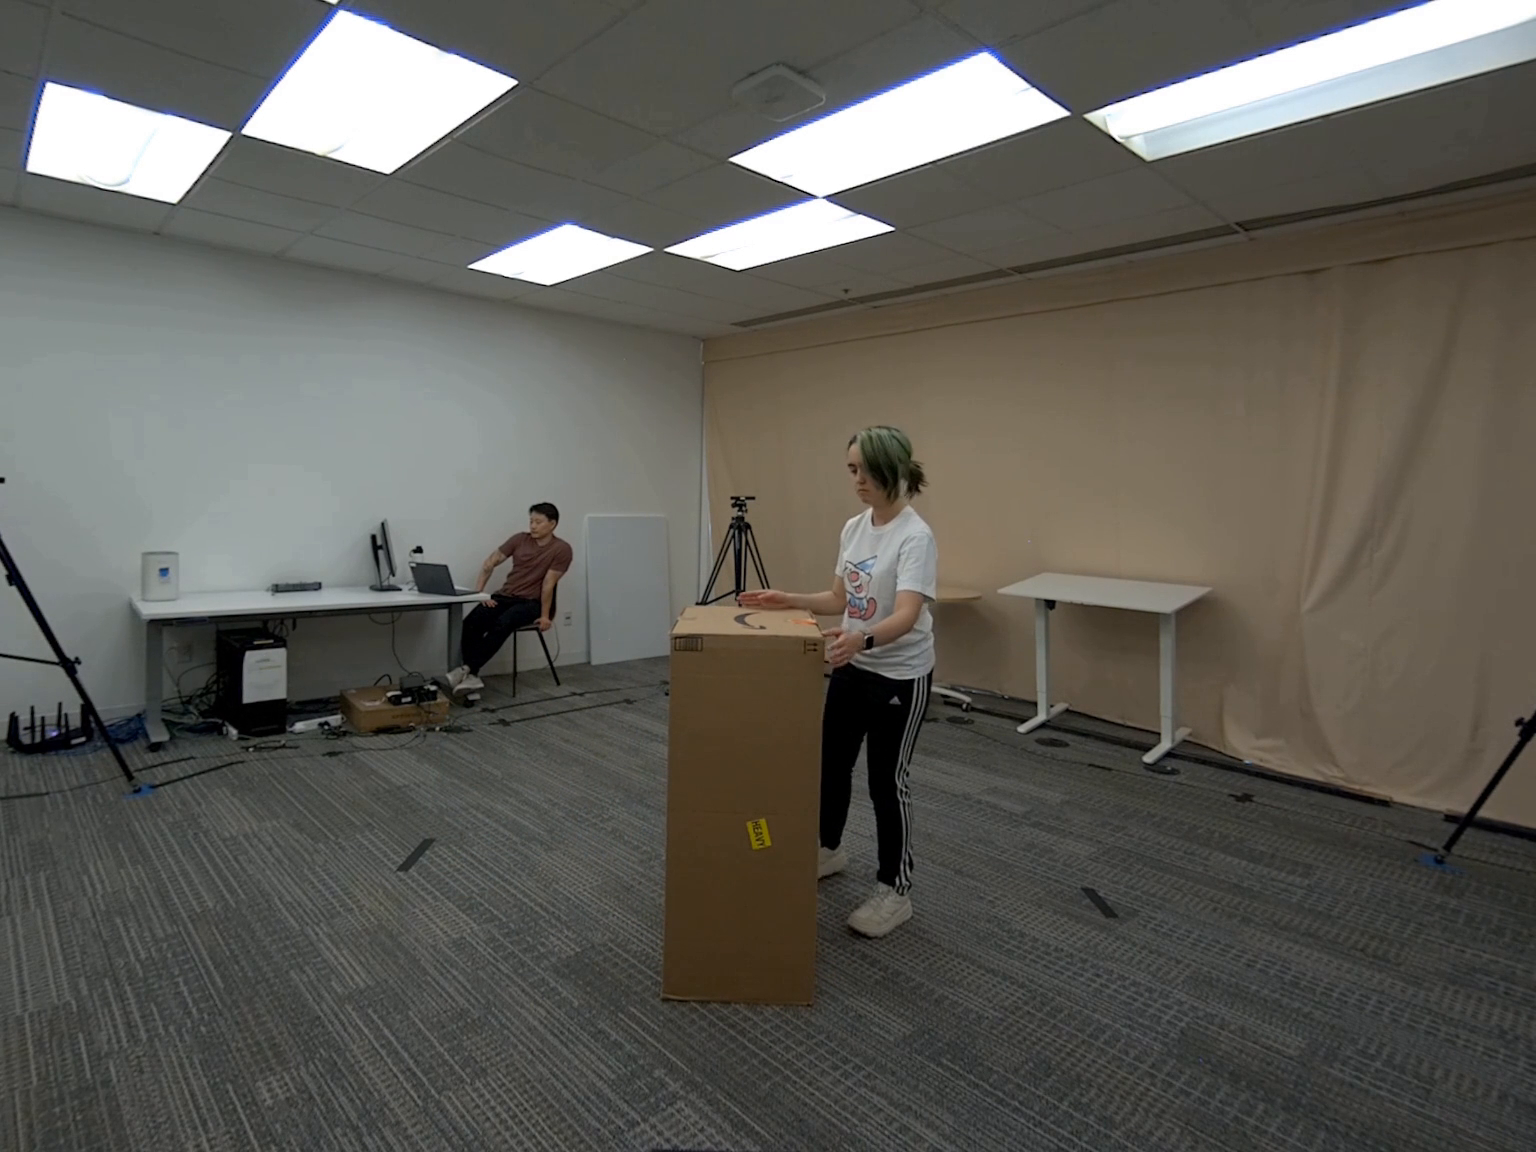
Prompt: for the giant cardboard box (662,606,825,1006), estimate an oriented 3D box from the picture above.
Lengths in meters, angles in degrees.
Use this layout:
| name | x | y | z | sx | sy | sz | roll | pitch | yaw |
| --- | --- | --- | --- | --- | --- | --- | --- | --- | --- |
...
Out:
| name | x | y | z | sx | sy | sz | roll | pitch | yaw |
| --- | --- | --- | --- | --- | --- | --- | --- | --- | --- |
| giant cardboard box | -0.085 | 0.648 | 2.574 | 0.426 | 1.023 | 0.578 | 1 | 3 | 0 |
